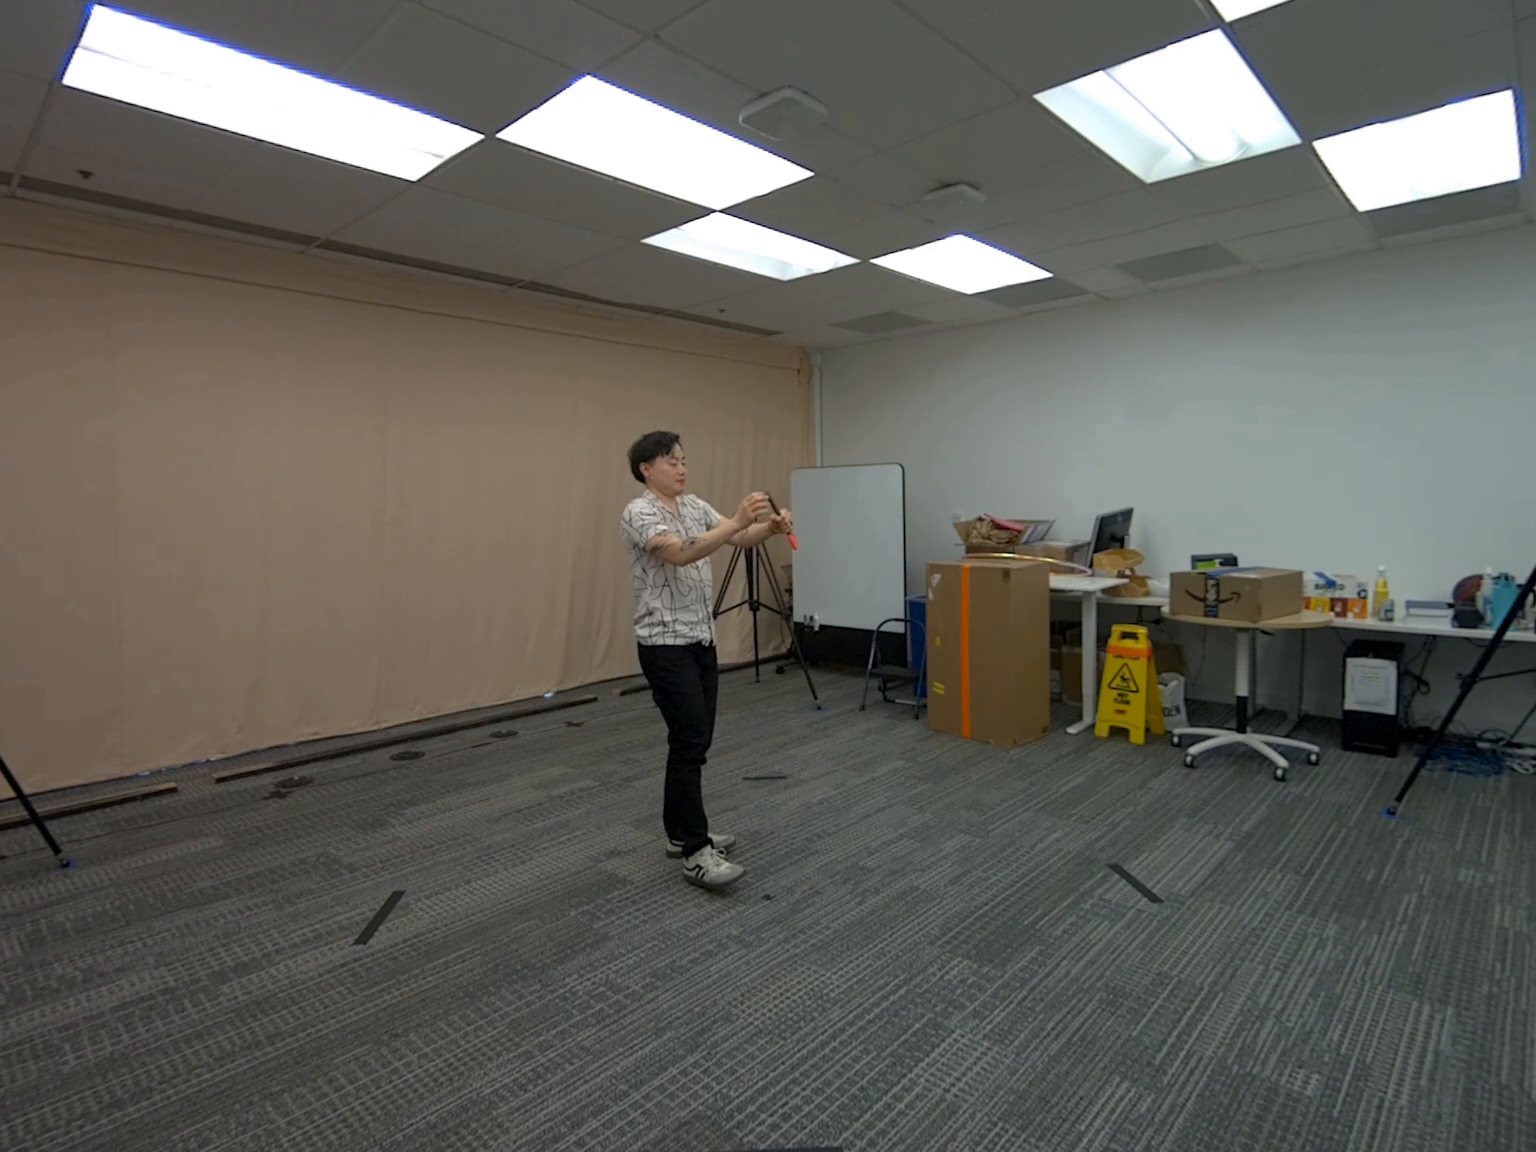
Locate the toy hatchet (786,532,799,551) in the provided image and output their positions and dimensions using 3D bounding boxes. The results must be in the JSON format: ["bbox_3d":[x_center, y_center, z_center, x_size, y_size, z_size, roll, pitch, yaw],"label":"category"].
[{"bbox_3d":[0.056,-0.196,3.062,0.030,0.262,0.134,-24,36,7],"label":"toy hatchet"}]
